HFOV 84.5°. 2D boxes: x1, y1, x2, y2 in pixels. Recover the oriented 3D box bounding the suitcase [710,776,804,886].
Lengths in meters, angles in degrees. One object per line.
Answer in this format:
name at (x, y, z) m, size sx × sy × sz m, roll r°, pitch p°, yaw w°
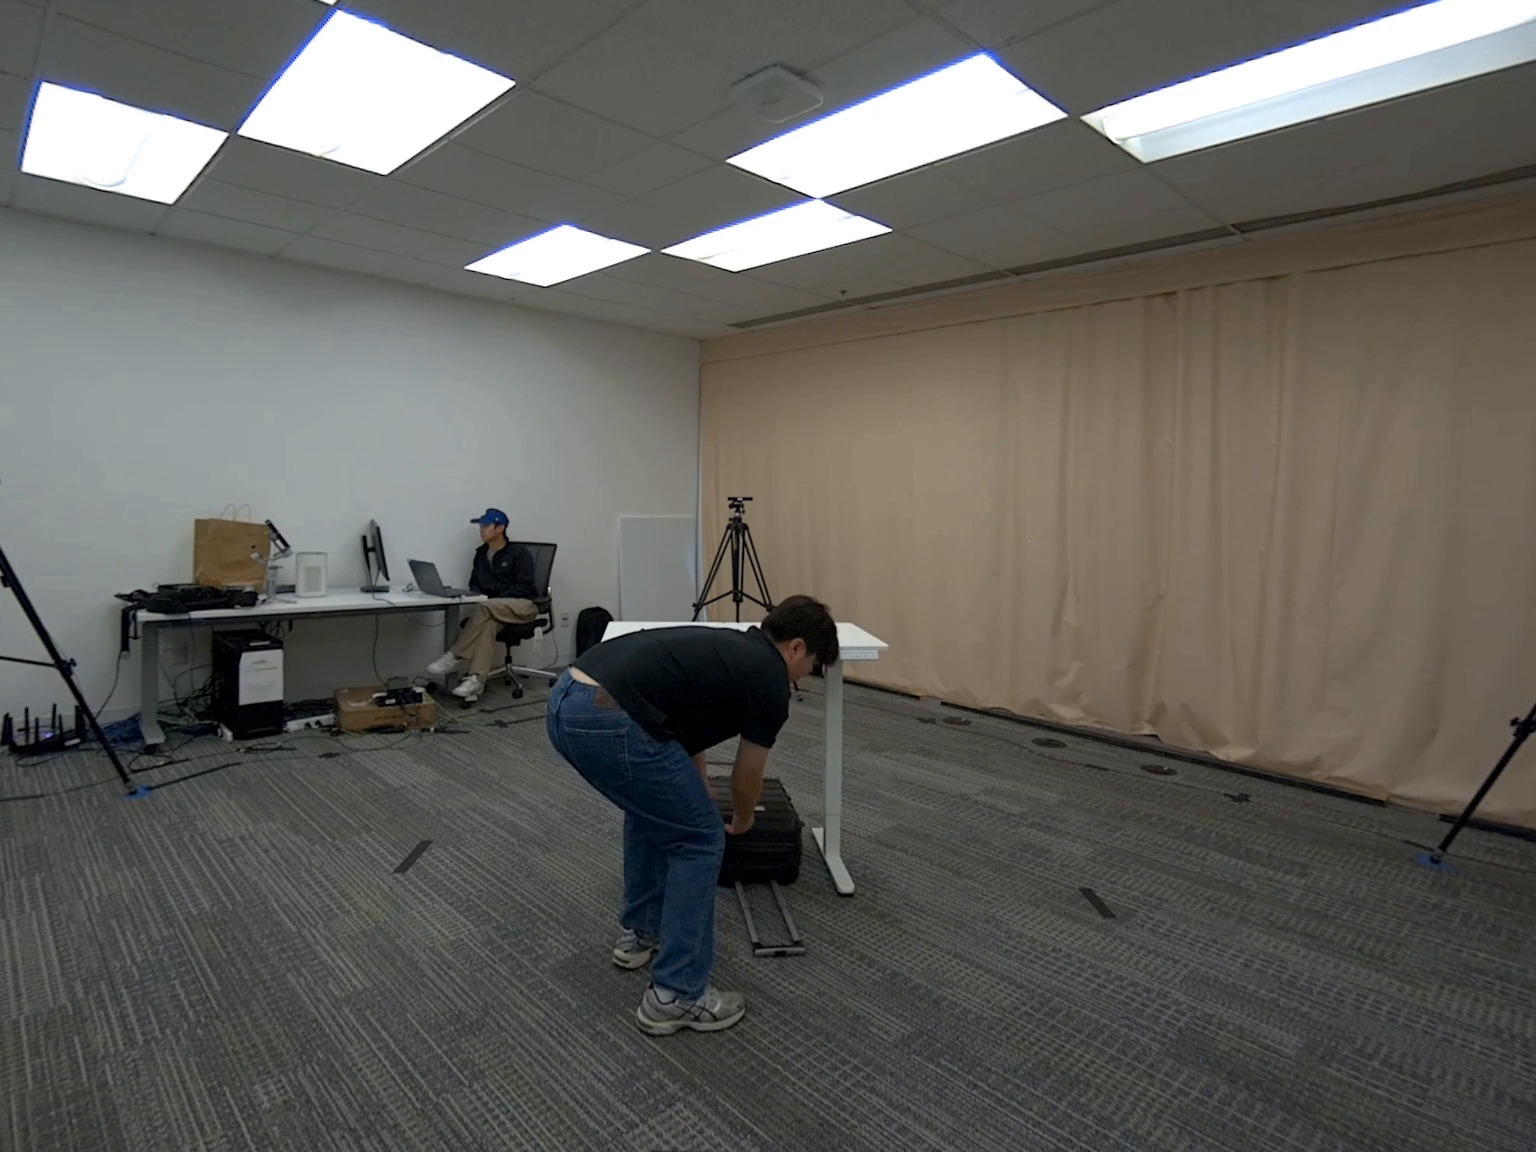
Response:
suitcase at (-0.054, 0.985, 3.043) m, size 0.381 × 0.256 × 0.988 m, roll 3°, pitch 5°, yaw -9°
